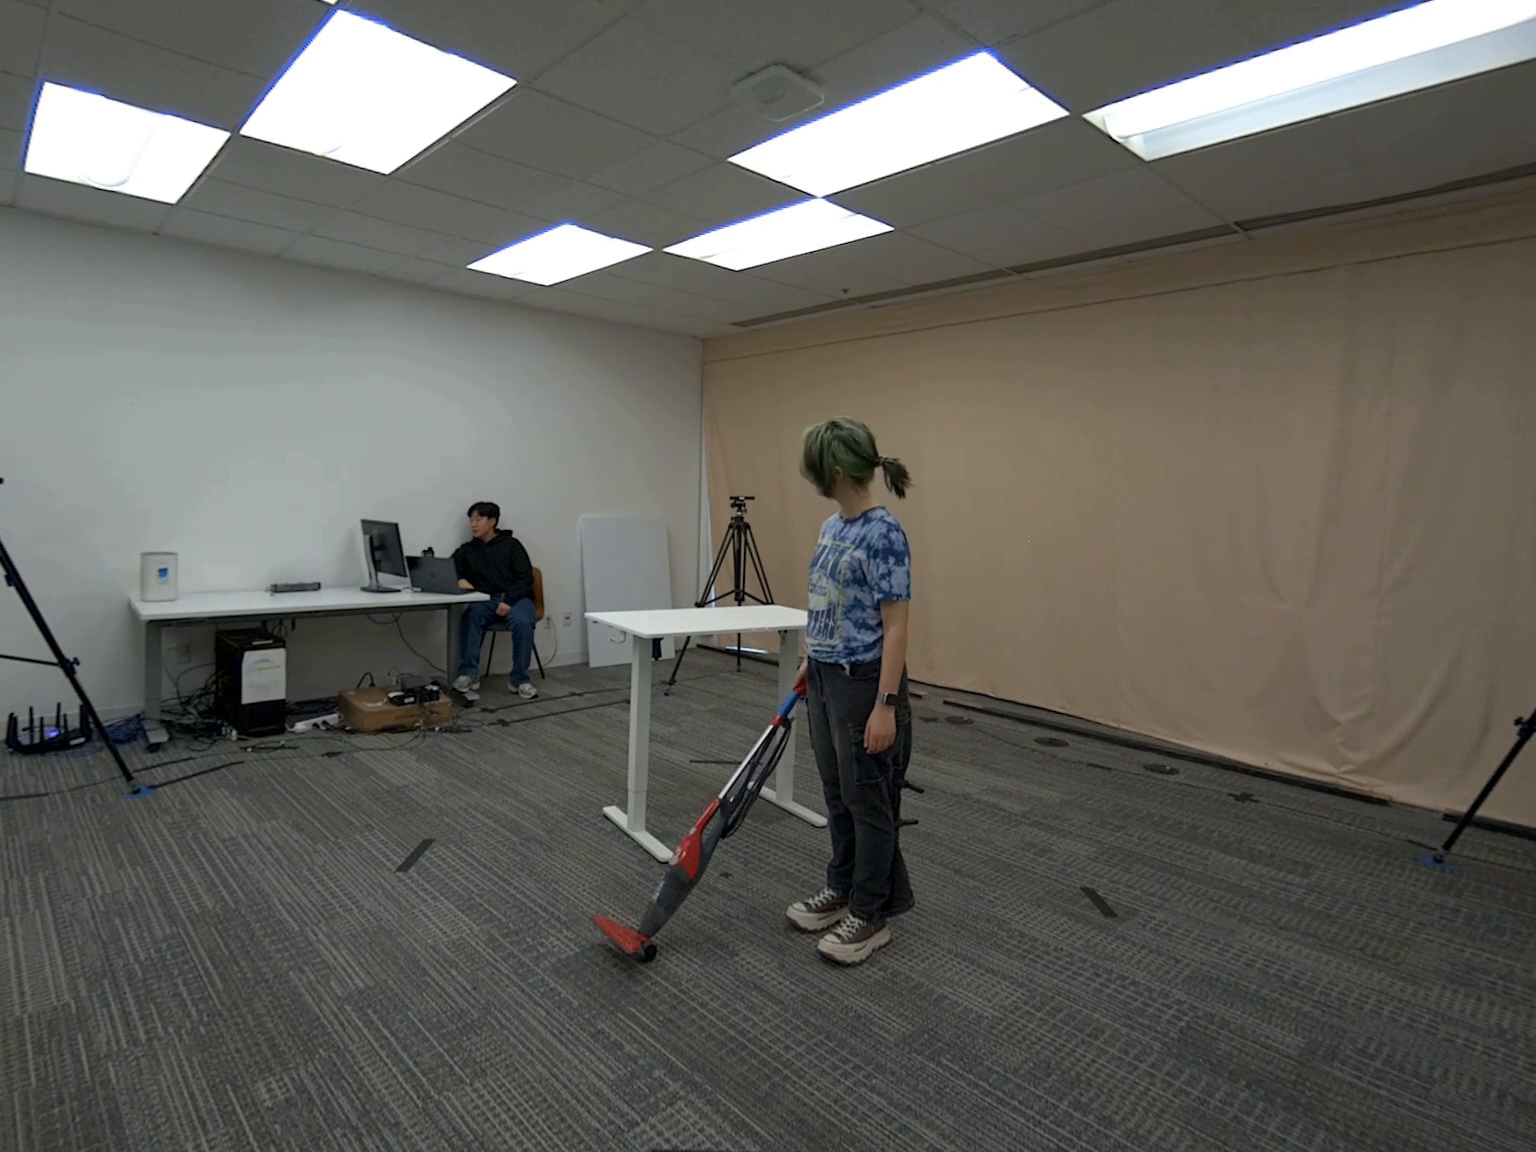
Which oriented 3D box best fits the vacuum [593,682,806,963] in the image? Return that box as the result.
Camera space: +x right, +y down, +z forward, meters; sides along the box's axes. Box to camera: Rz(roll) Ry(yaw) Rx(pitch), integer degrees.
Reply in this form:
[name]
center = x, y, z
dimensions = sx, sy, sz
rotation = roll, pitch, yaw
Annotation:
[vacuum]
center = -0.138, 0.756, 2.730
dimensions = 0.259, 0.140, 1.050
rotation = 11, 53, 47
